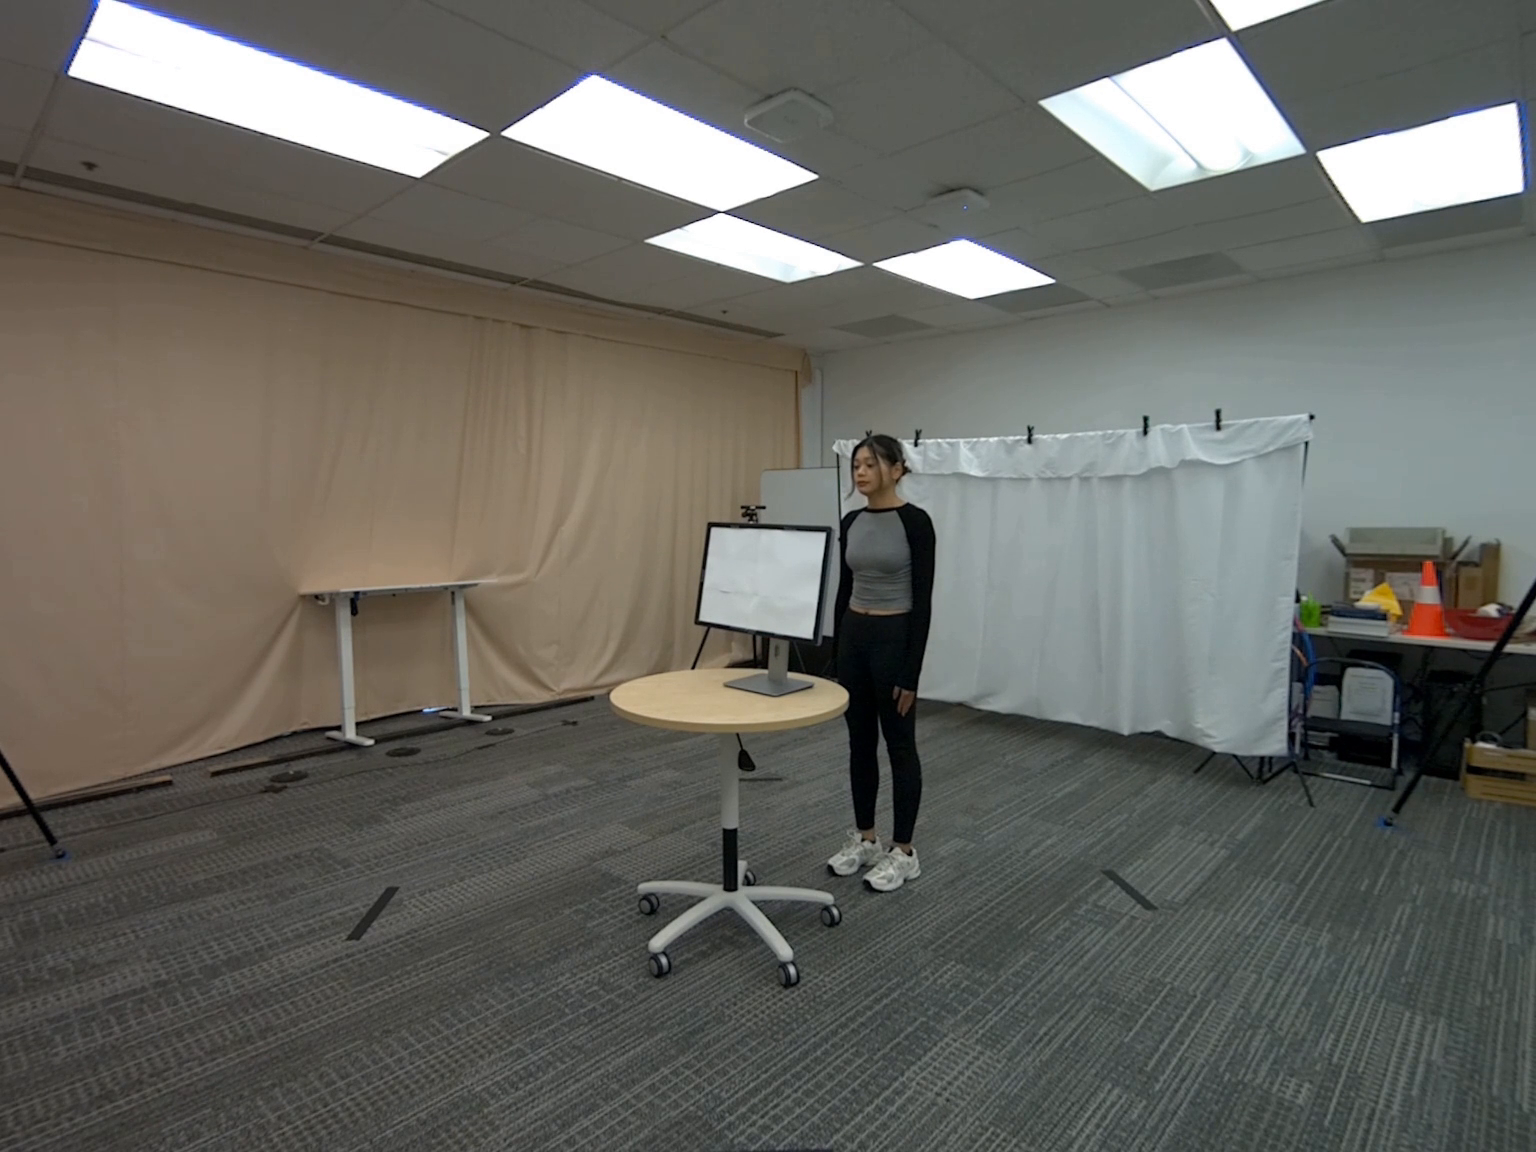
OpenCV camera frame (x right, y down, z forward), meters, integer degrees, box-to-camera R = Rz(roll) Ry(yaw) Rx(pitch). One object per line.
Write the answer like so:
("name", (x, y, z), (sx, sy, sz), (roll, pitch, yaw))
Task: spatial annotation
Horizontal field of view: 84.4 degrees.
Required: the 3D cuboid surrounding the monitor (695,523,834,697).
("monitor", (0.004, 0.104, 2.782), (0.557, 0.521, 0.181), (4, 7, 44))
